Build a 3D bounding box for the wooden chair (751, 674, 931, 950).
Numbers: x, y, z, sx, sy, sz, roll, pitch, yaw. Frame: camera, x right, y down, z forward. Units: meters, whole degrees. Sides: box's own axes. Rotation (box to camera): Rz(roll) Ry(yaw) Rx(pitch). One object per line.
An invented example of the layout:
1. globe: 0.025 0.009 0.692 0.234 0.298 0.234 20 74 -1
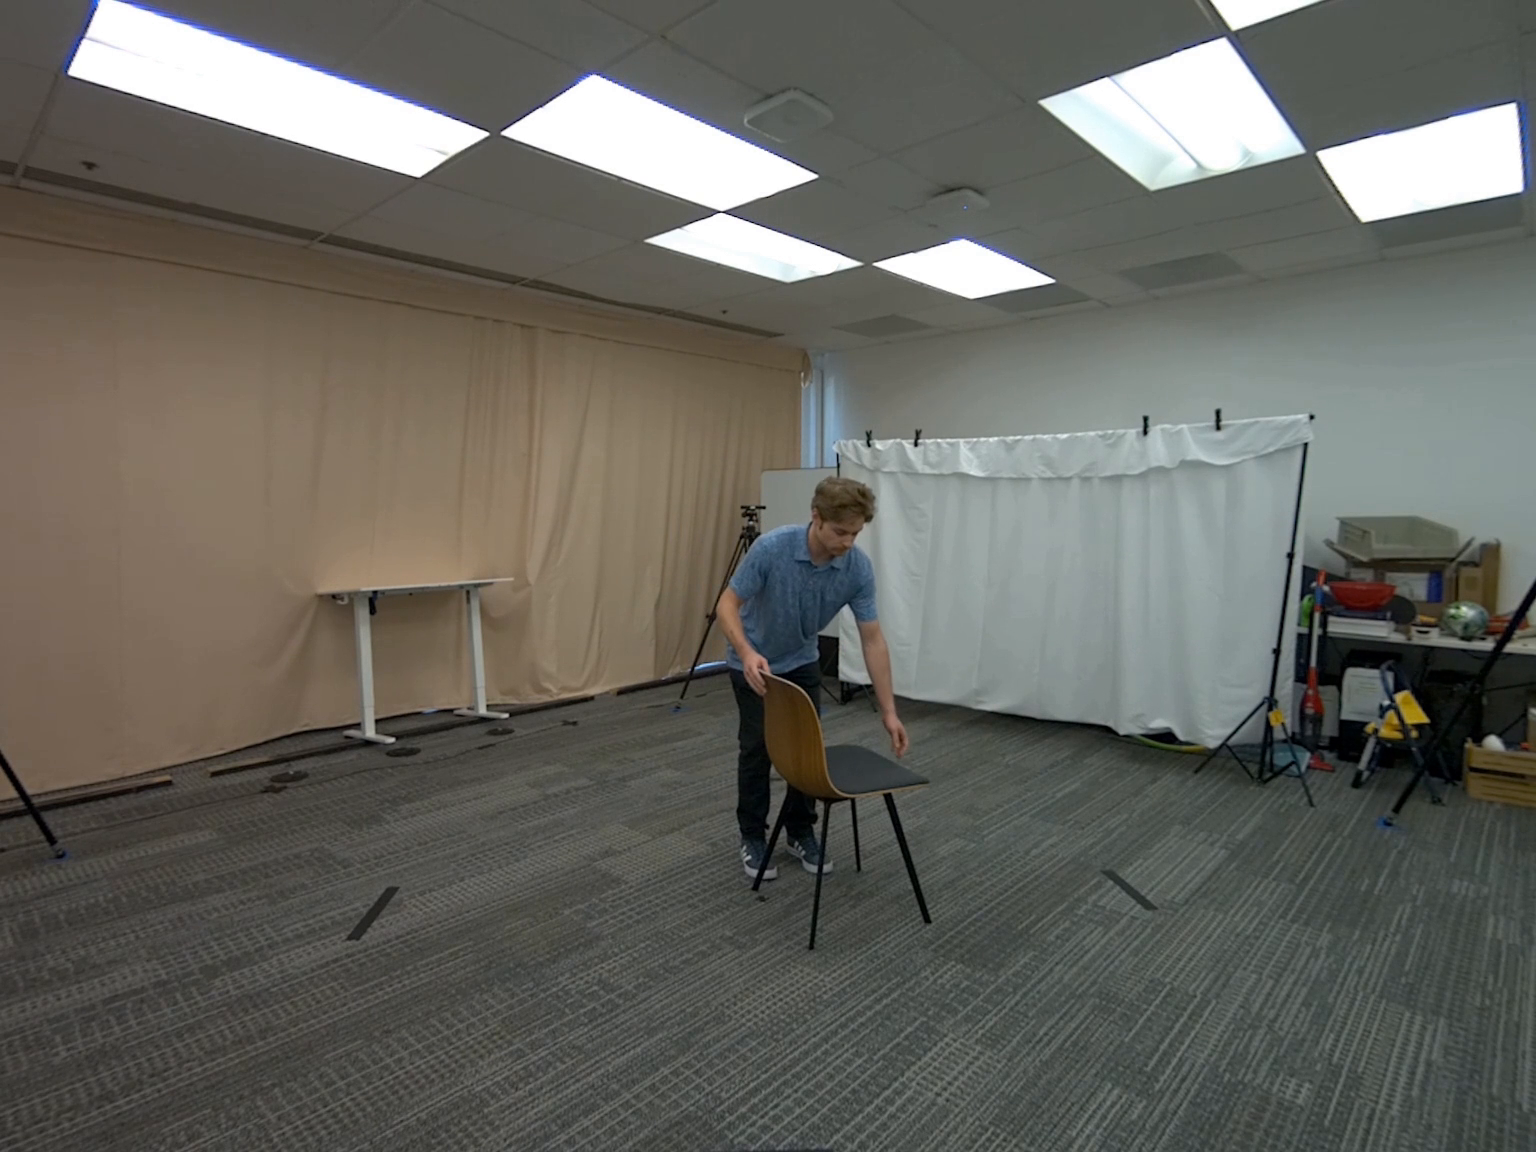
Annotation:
1. wooden chair: 0.254 0.721 2.899 0.512 0.874 0.490 -6 5 -23
